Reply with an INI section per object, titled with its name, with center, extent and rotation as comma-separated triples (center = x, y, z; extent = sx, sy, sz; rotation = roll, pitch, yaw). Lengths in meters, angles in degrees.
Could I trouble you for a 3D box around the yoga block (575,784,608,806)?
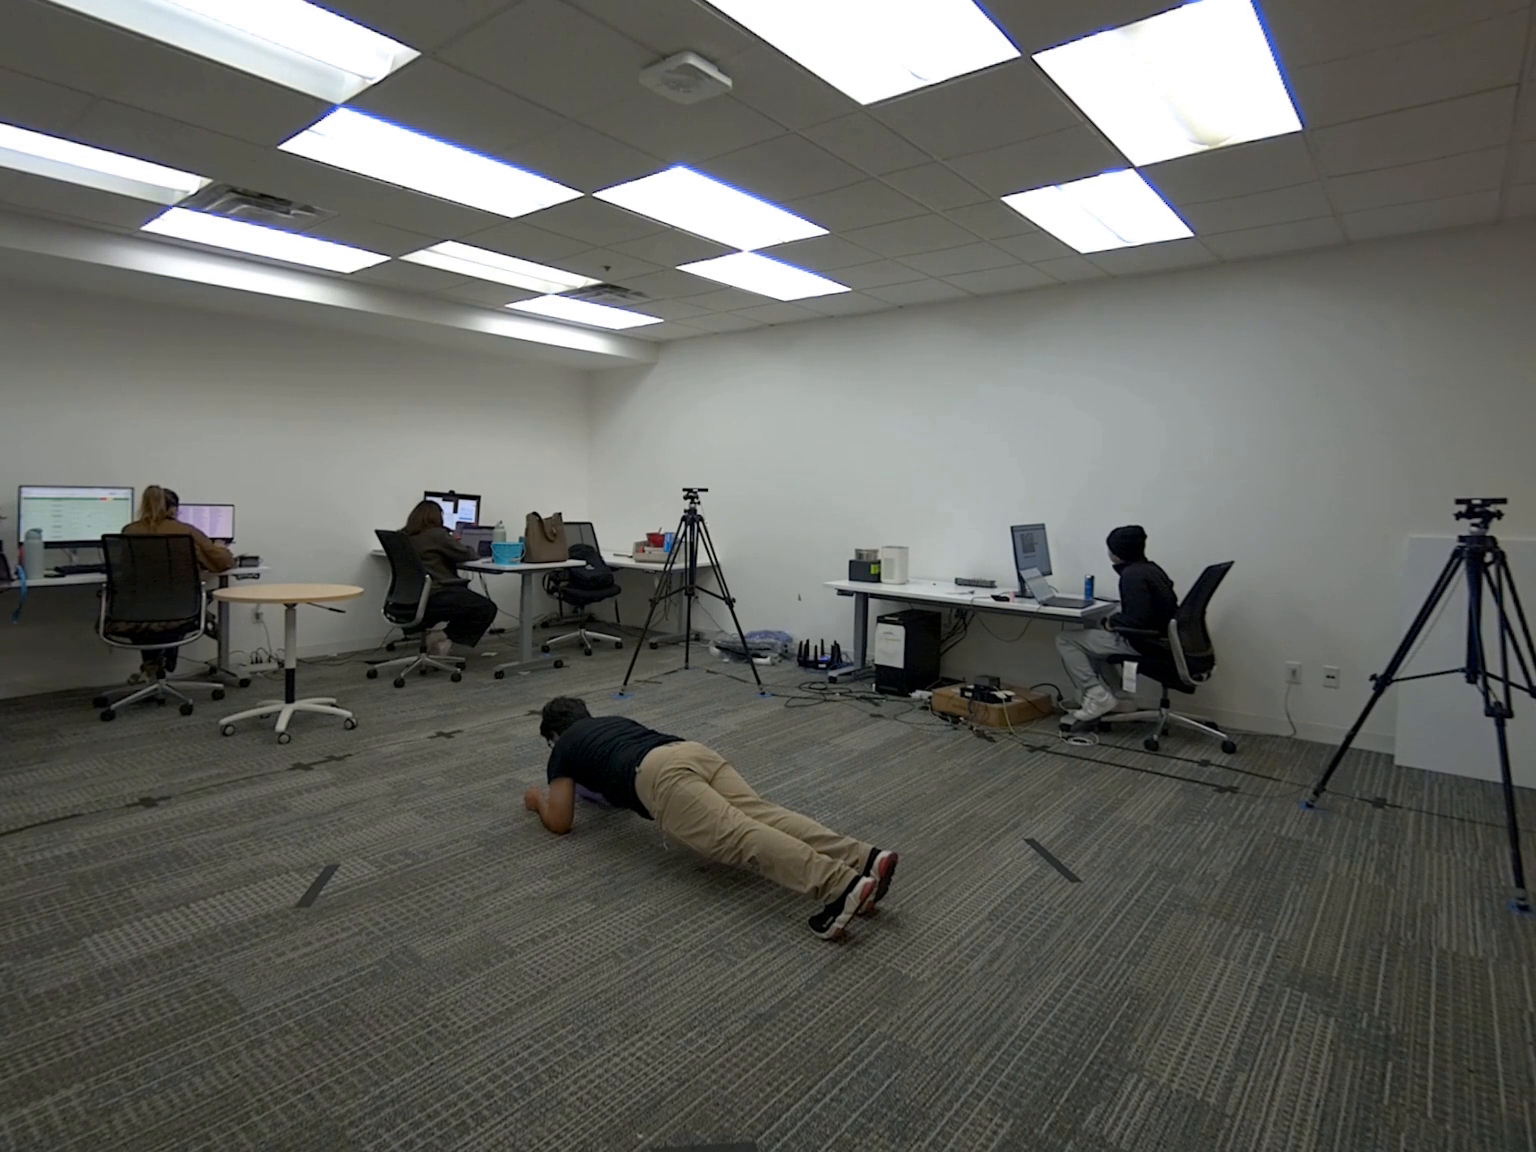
[yoga block]
center = -0.767, 0.895, 3.763
extent = 0.074, 0.149, 0.236
rotation = -6, 3, -44
